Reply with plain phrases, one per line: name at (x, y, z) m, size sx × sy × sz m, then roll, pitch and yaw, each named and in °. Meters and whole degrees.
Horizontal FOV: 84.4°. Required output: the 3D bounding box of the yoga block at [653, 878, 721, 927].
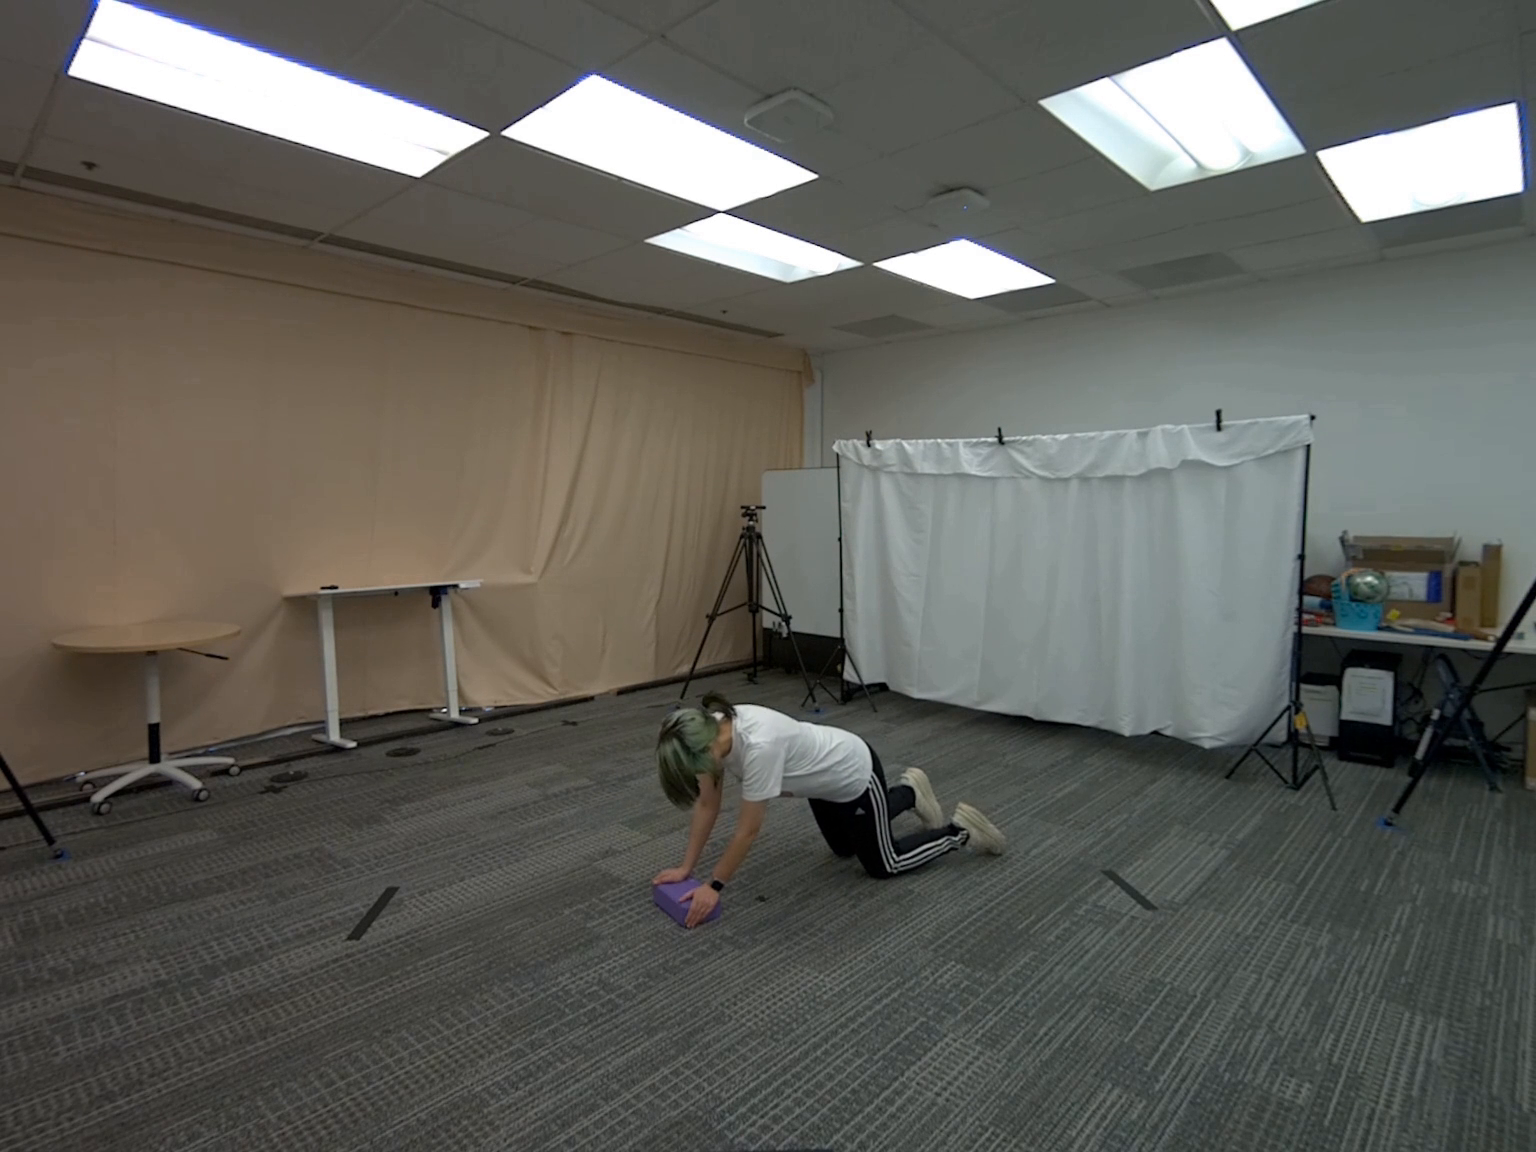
yoga block at (-0.276, 1.114, 2.900) m, size 0.145 × 0.076 × 0.237 m, roll -4°, pitch 7°, yaw -35°
